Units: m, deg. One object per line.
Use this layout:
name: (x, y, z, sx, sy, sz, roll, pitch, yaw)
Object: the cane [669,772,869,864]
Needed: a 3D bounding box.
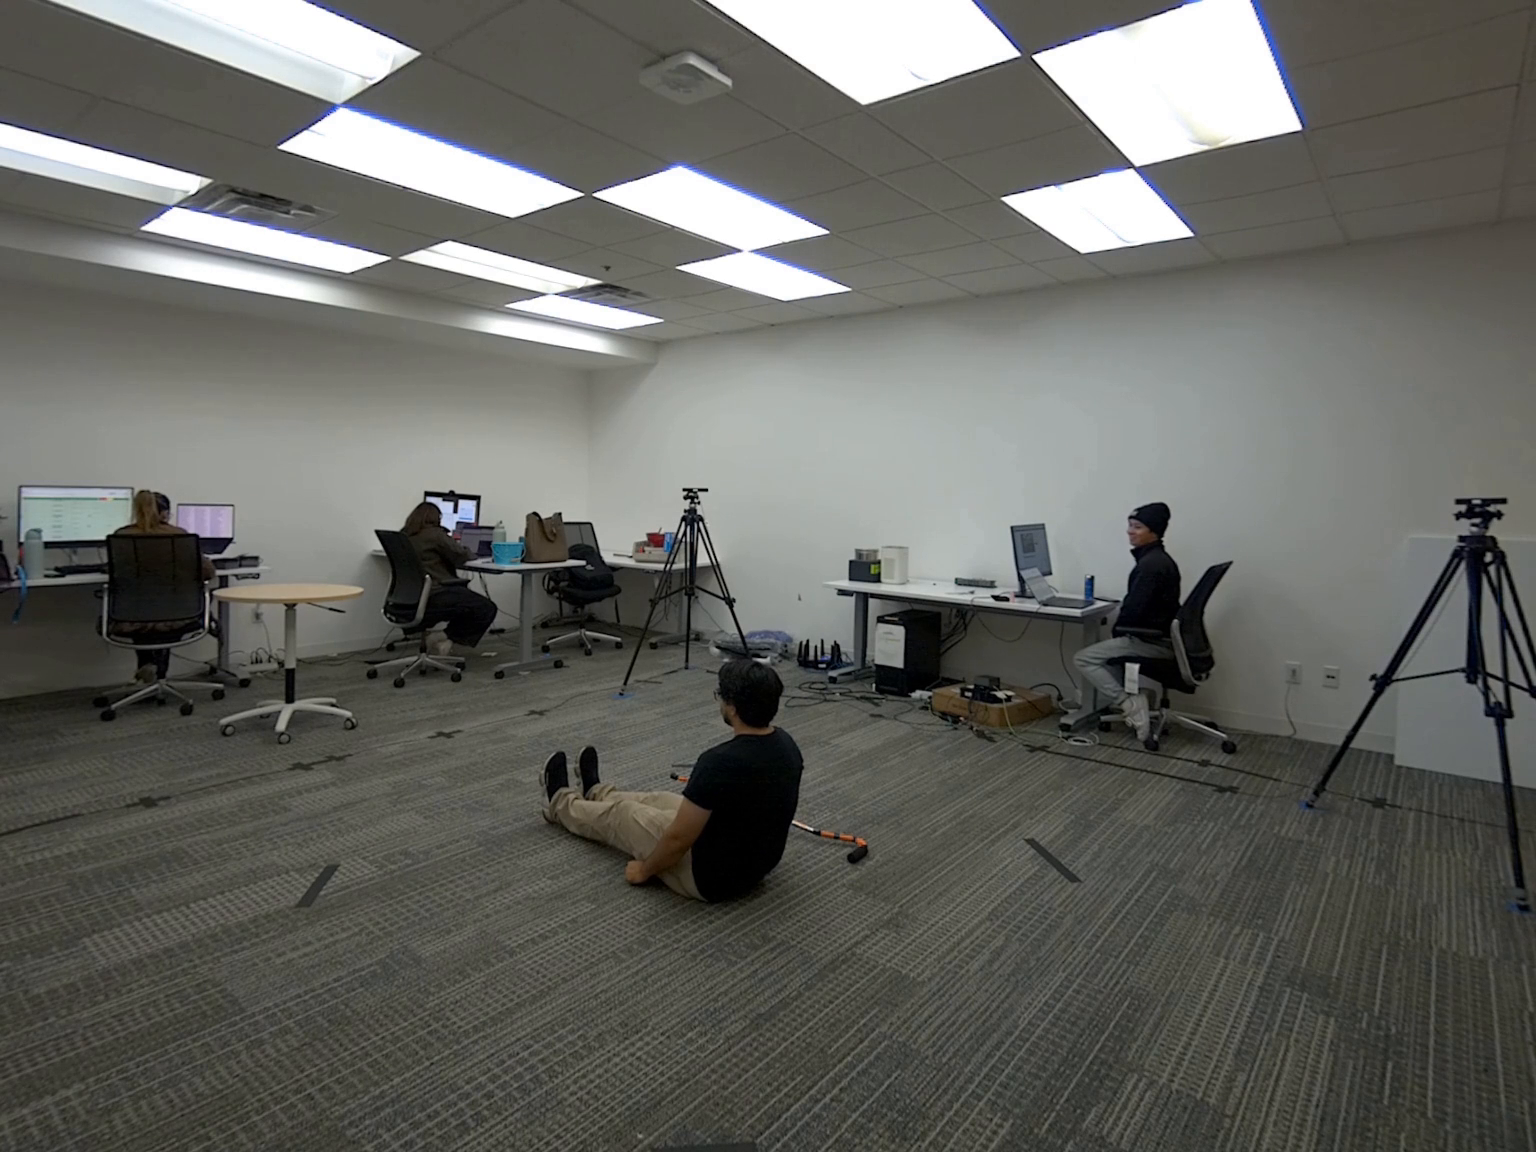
cane: (-0.014, 0.980, 3.520, 0.940, 0.151, 0.200, 11, 8, 35)
